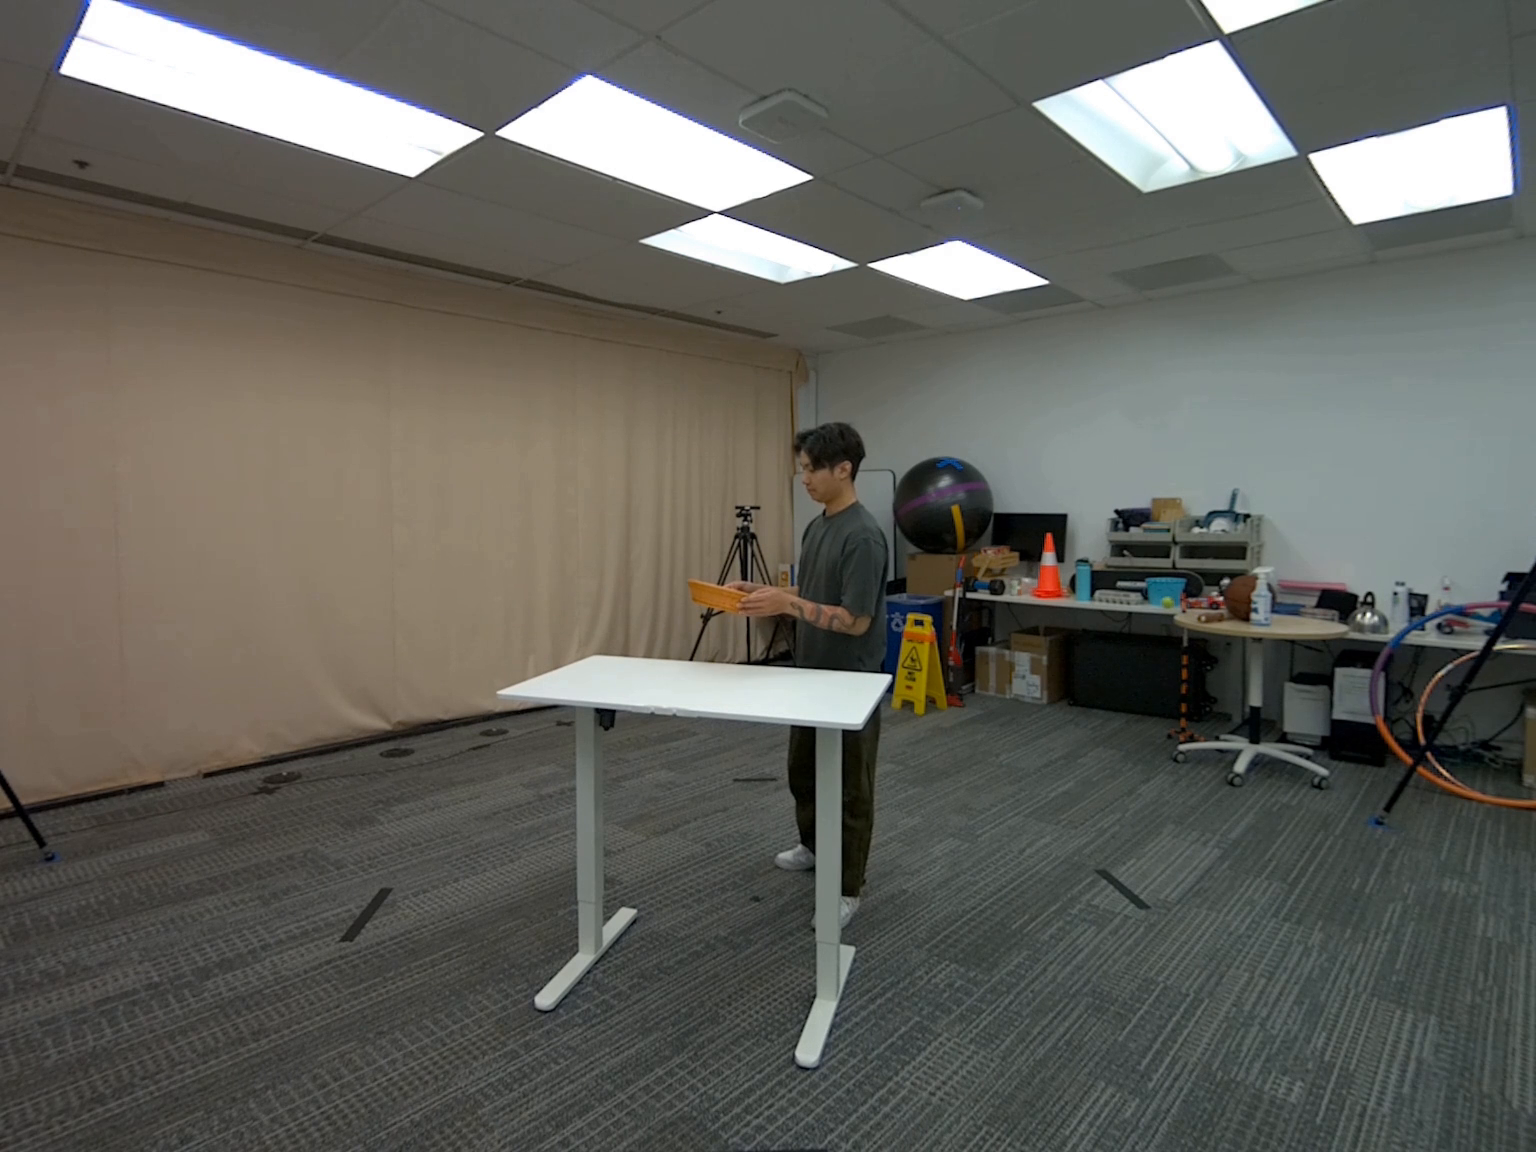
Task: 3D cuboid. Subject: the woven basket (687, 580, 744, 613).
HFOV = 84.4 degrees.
[{"bbox_3d":[-0.129,0.077,2.792,0.246,0.073,0.359,10,0,-23],"label":"woven basket"}]
